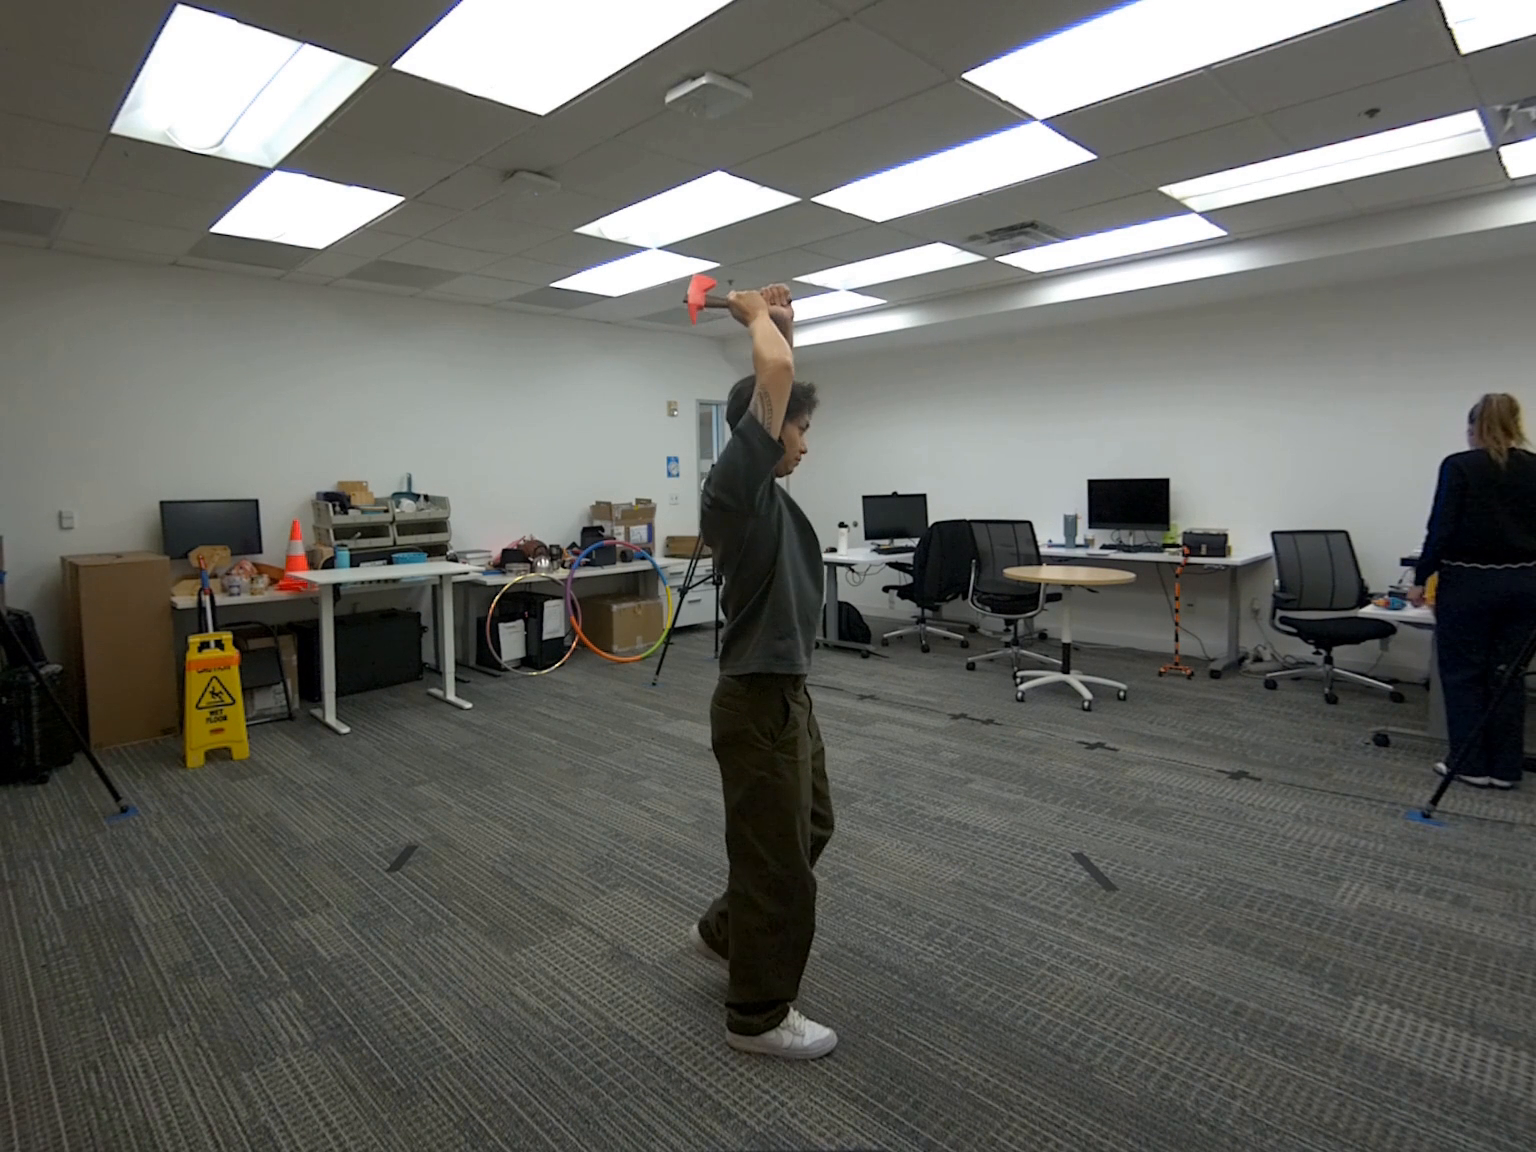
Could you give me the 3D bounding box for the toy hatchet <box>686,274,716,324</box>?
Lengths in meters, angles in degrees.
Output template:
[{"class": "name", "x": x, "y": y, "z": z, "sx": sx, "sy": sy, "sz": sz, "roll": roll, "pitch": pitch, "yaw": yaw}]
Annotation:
[{"class": "toy hatchet", "x": -0.070, "y": -0.718, "z": 2.127, "sx": 0.269, "sy": 0.133, "sz": 0.029, "roll": -17, "pitch": -14, "yaw": -4}]
